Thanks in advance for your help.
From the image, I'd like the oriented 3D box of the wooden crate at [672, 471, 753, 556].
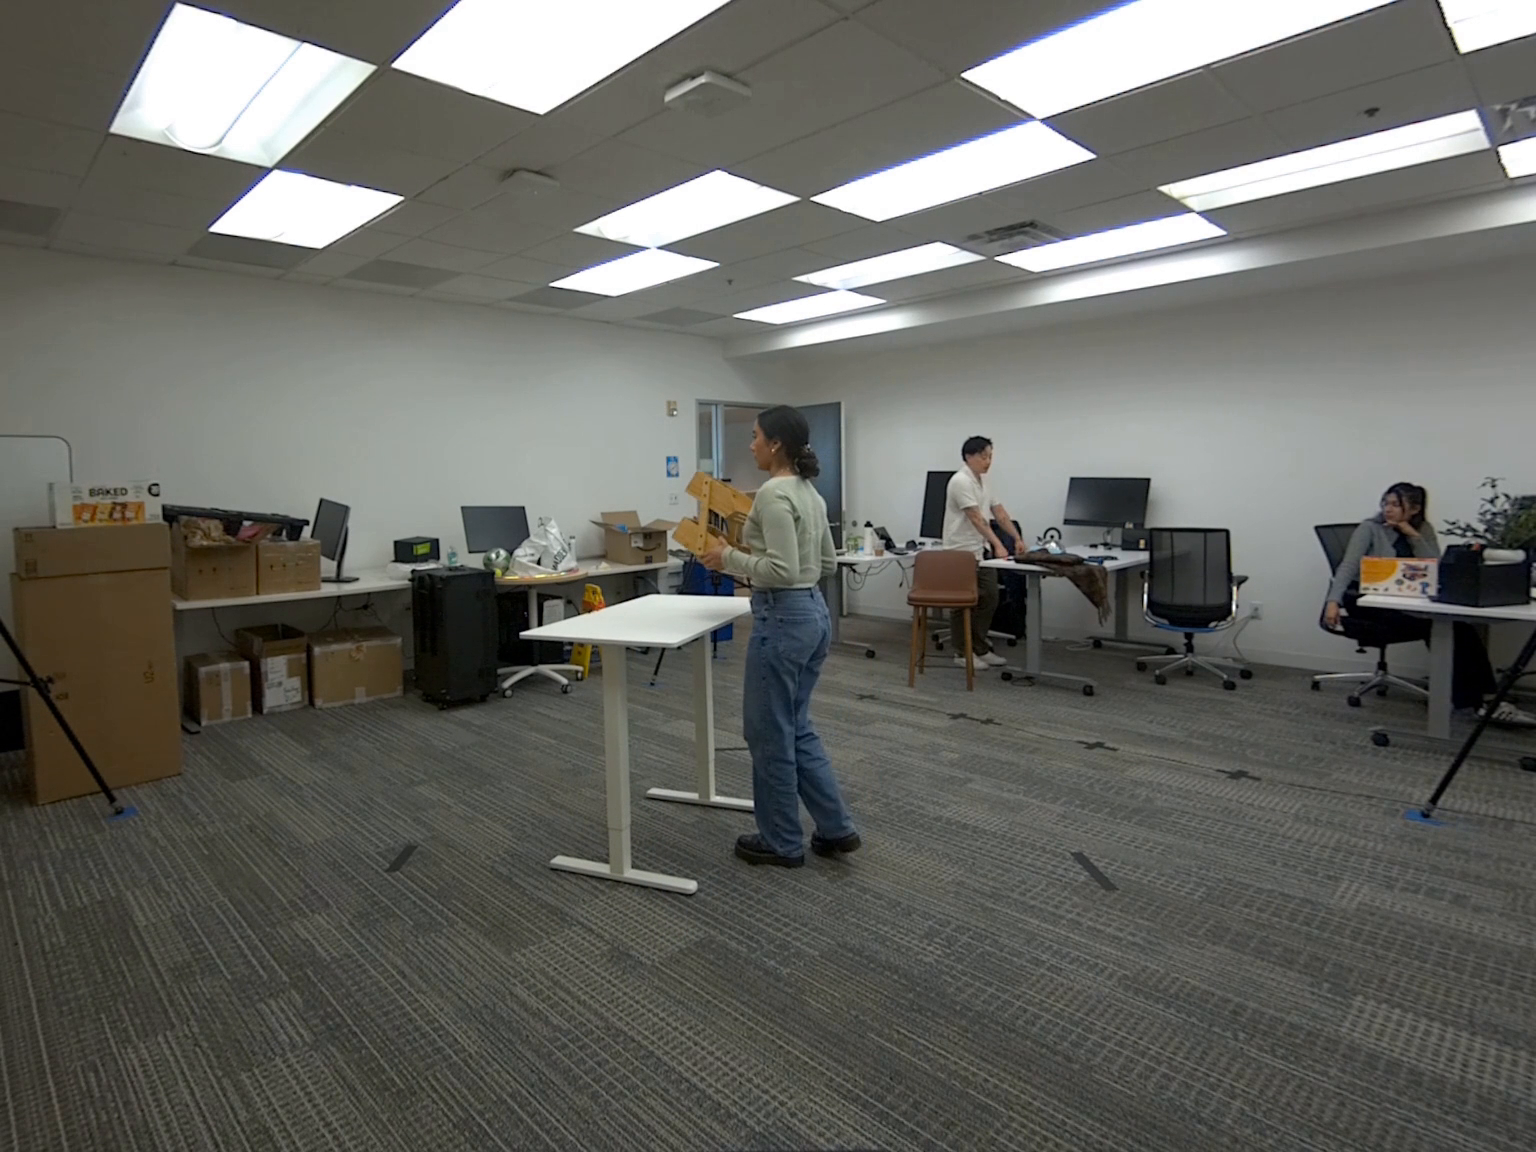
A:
[{"bbox_3d":[-0.162,-0.190,3.195,0.308,0.273,0.319,33,3,13],"label":"wooden crate"}]
